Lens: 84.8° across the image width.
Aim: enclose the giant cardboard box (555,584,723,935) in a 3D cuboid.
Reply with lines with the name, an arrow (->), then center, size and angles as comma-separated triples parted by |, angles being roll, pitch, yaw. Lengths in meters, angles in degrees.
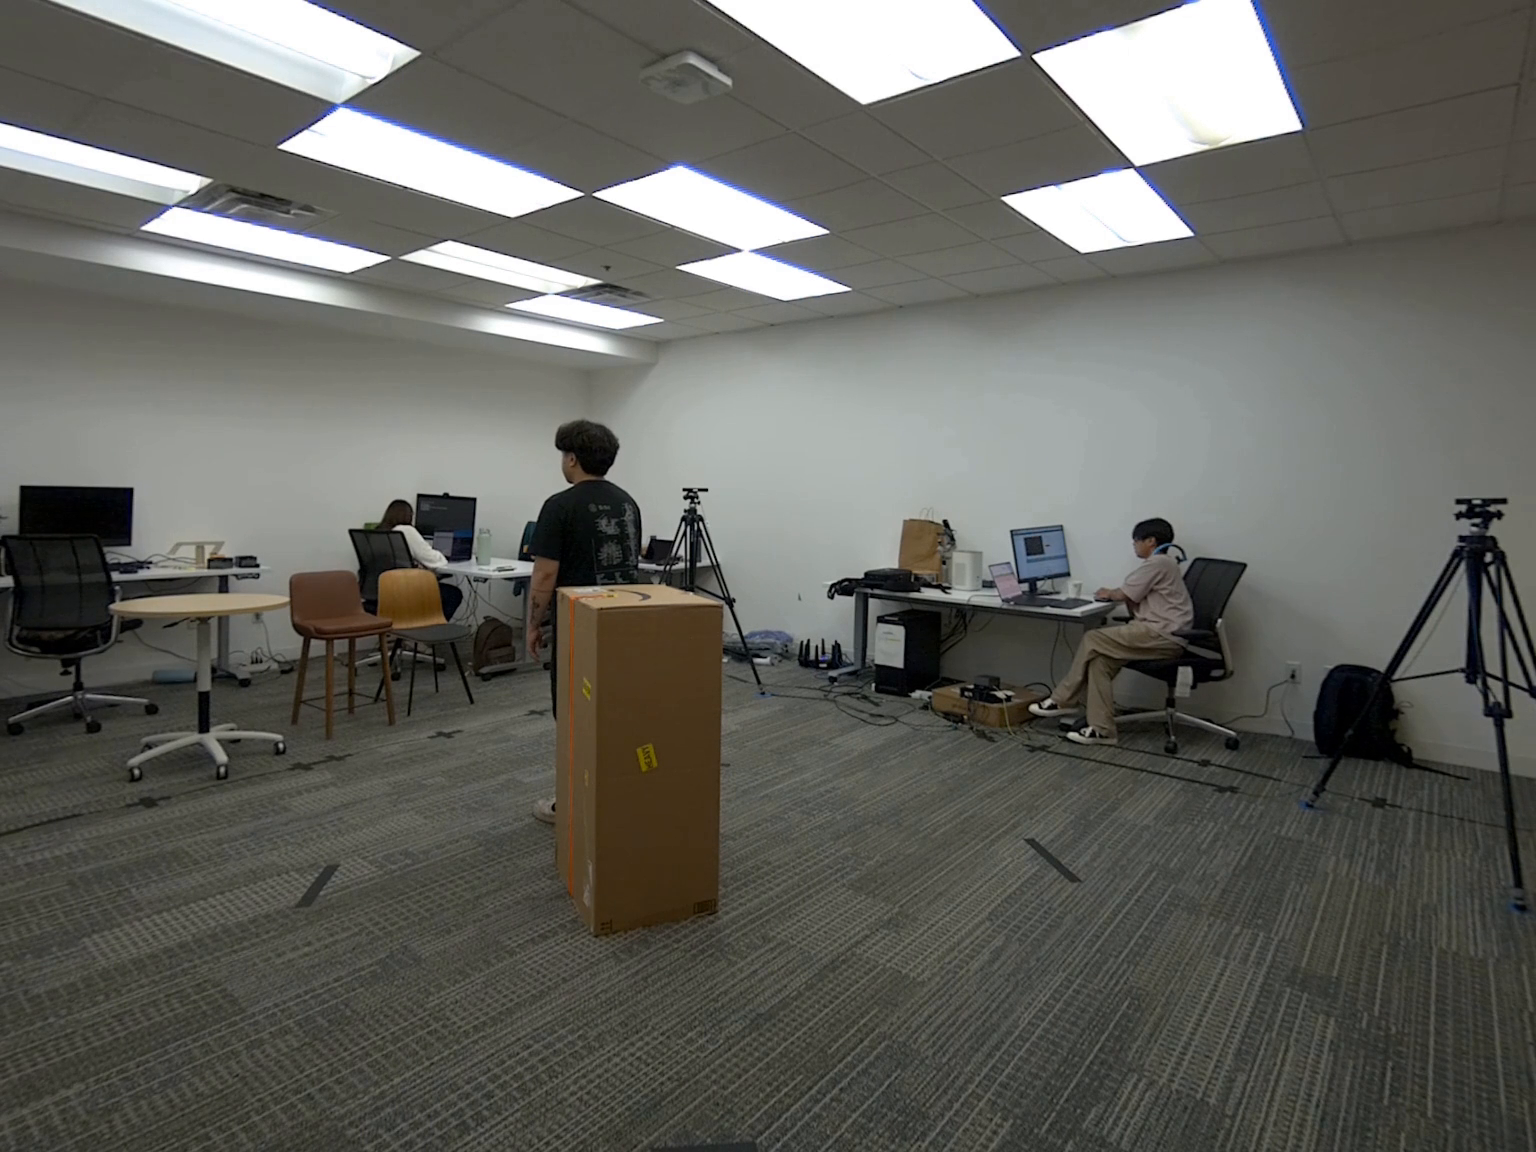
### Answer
giant cardboard box -> -0.476, 0.569, 2.939 | 0.437, 1.024, 0.599 | -1, 4, -25
